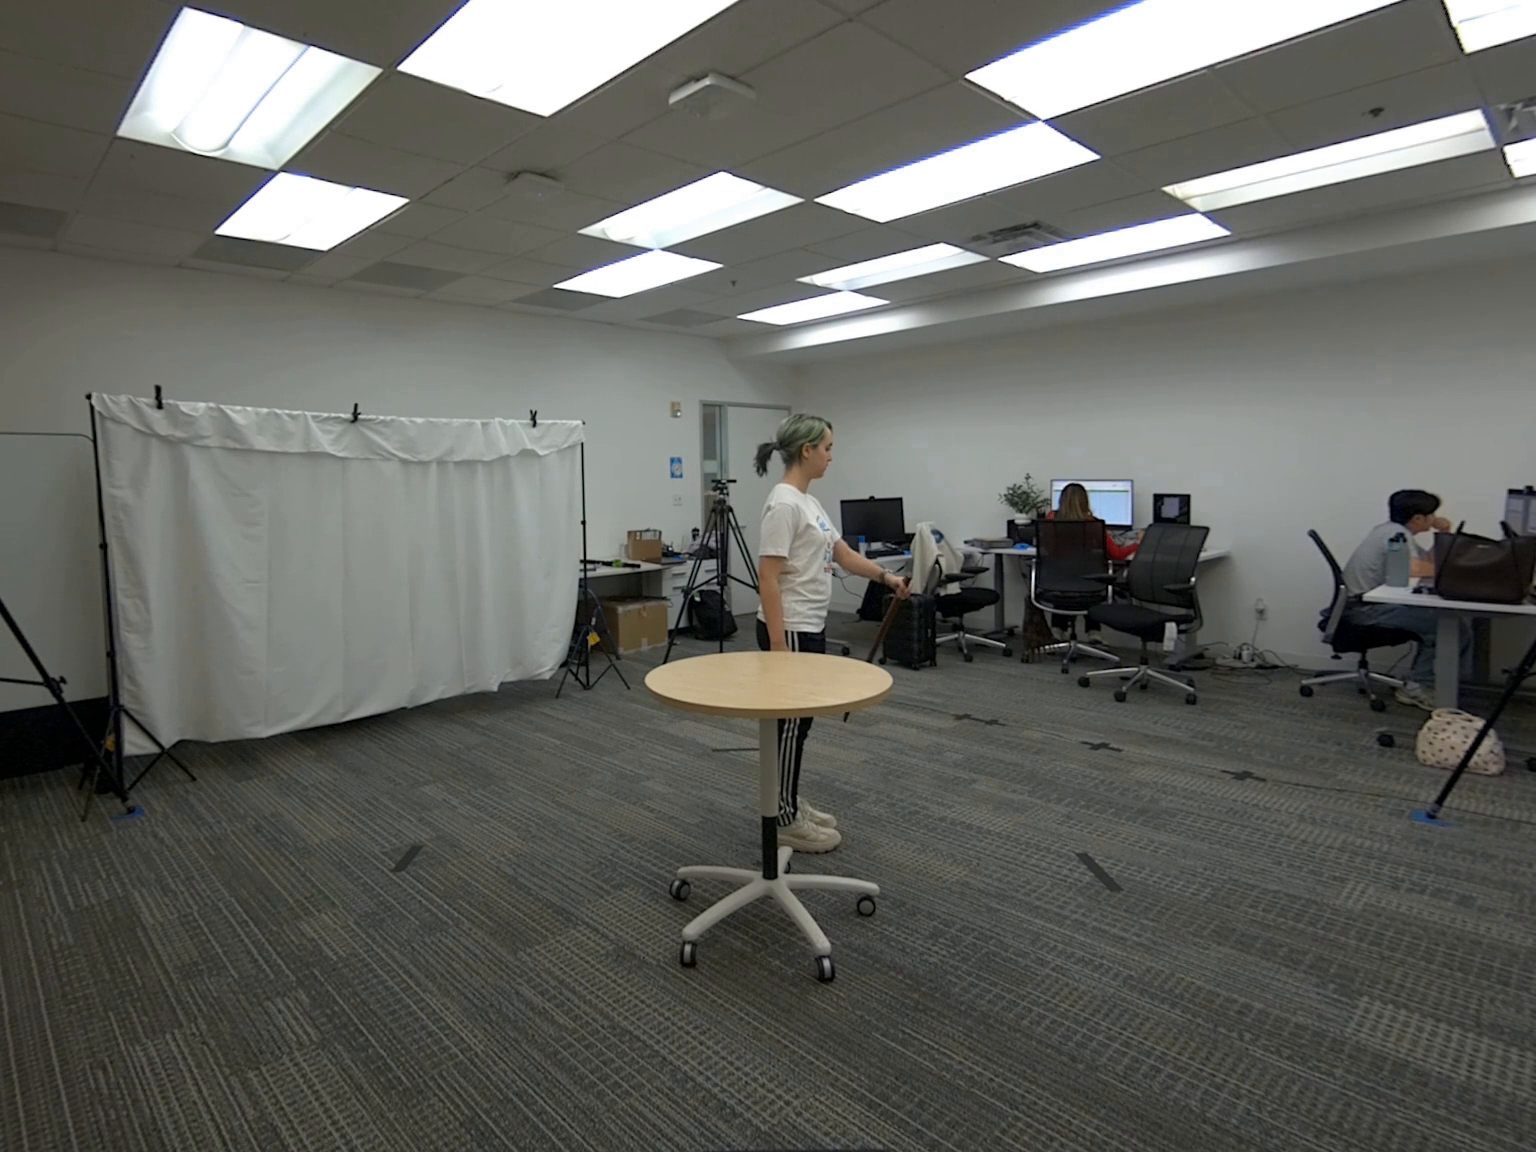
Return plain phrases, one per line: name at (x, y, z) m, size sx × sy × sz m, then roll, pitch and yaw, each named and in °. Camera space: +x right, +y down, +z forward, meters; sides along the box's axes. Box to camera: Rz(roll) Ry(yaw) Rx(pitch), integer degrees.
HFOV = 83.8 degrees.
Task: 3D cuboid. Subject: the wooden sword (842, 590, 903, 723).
wooden sword at (0.425, 0.343, 3.593) m, size 0.025 × 1.002 × 0.051 m, roll 34°, pitch 50°, yaw 20°
